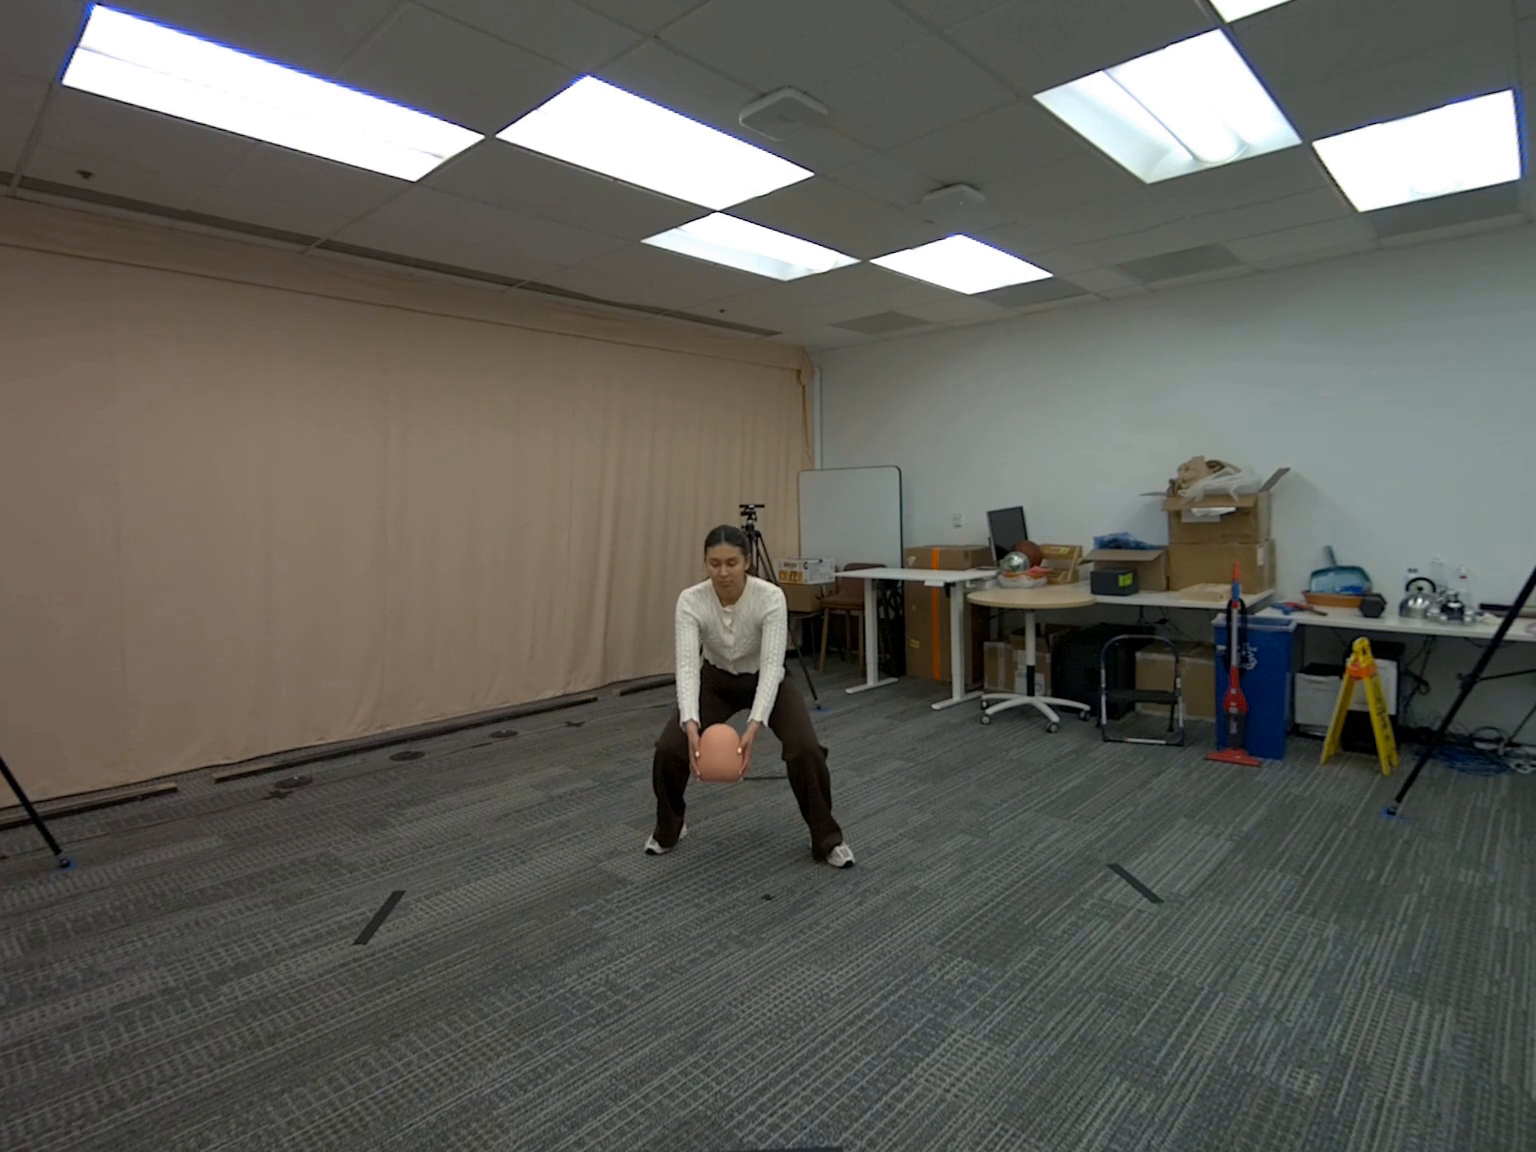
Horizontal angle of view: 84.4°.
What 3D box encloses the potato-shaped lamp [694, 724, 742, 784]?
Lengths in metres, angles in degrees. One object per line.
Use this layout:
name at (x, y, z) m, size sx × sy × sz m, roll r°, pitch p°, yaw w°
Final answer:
potato-shaped lamp at (-0.165, 0.606, 2.910) m, size 0.165 × 0.200 × 0.169 m, roll -4°, pitch -15°, yaw 1°
